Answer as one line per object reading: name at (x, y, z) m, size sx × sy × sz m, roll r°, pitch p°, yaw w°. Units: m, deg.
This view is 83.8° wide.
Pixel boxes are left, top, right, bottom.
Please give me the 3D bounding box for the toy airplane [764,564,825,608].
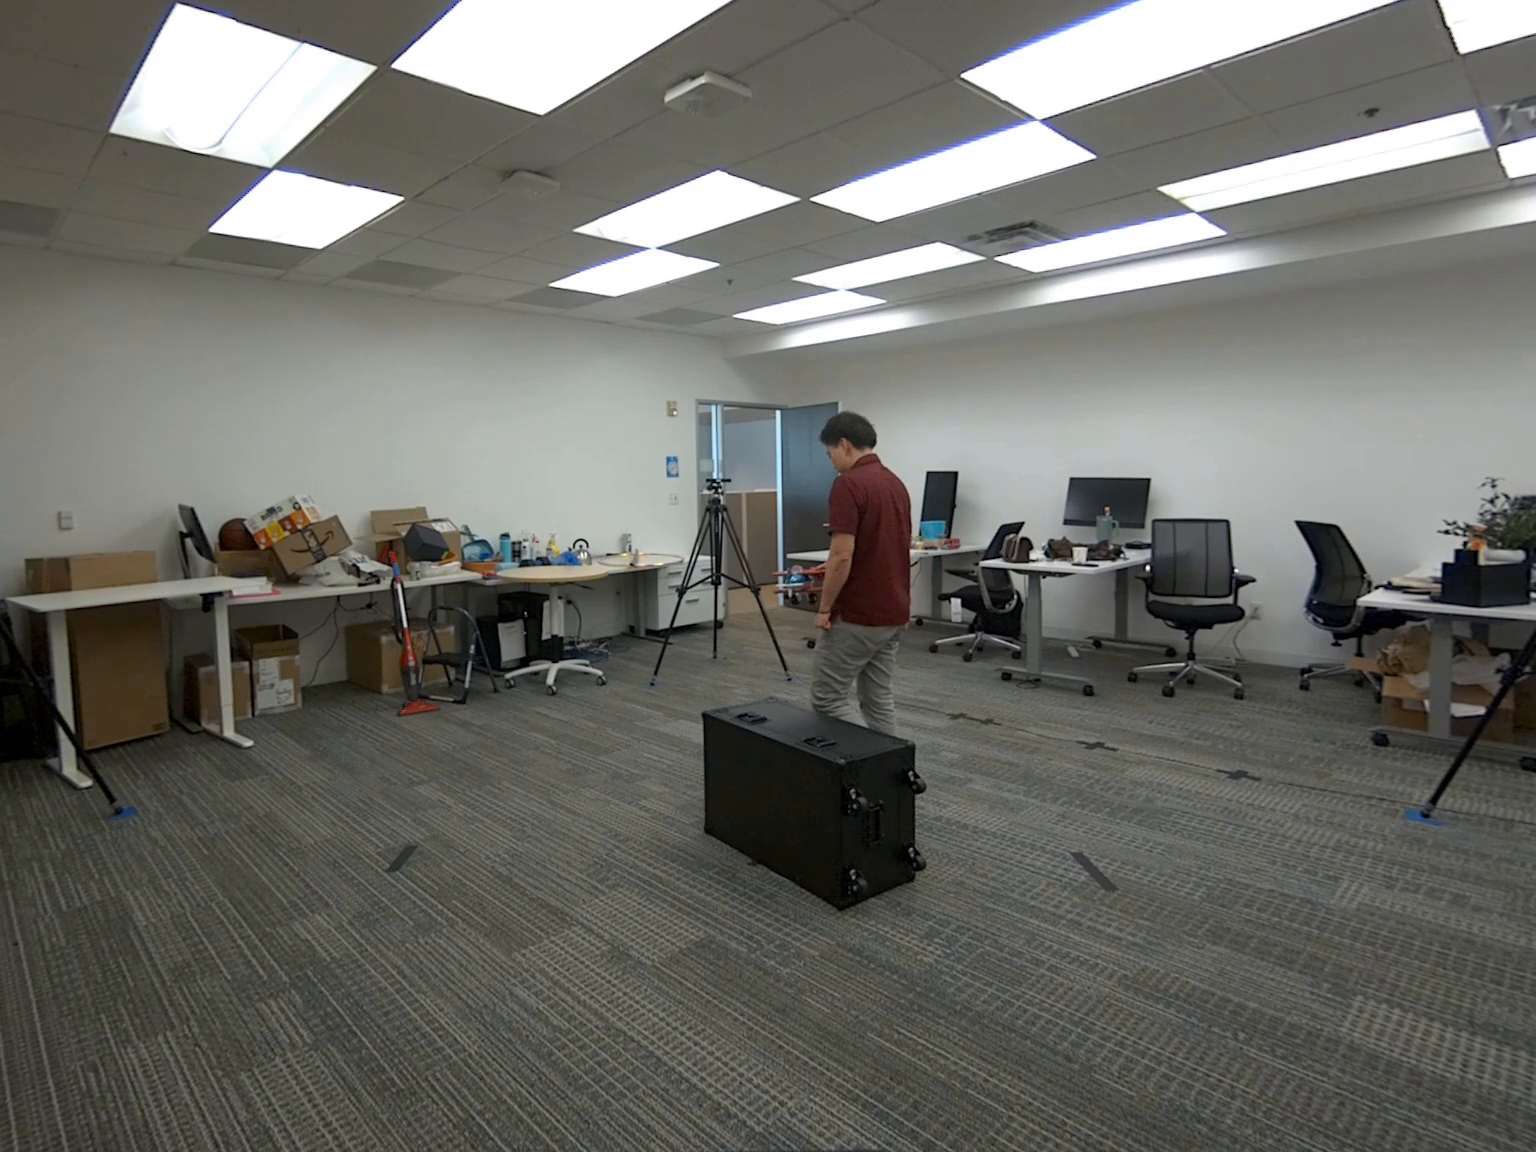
toy airplane at (0.154, 0.036, 3.755) m, size 0.250 × 0.158 × 0.258 m, roll 3°, pitch -11°, yaw -6°
